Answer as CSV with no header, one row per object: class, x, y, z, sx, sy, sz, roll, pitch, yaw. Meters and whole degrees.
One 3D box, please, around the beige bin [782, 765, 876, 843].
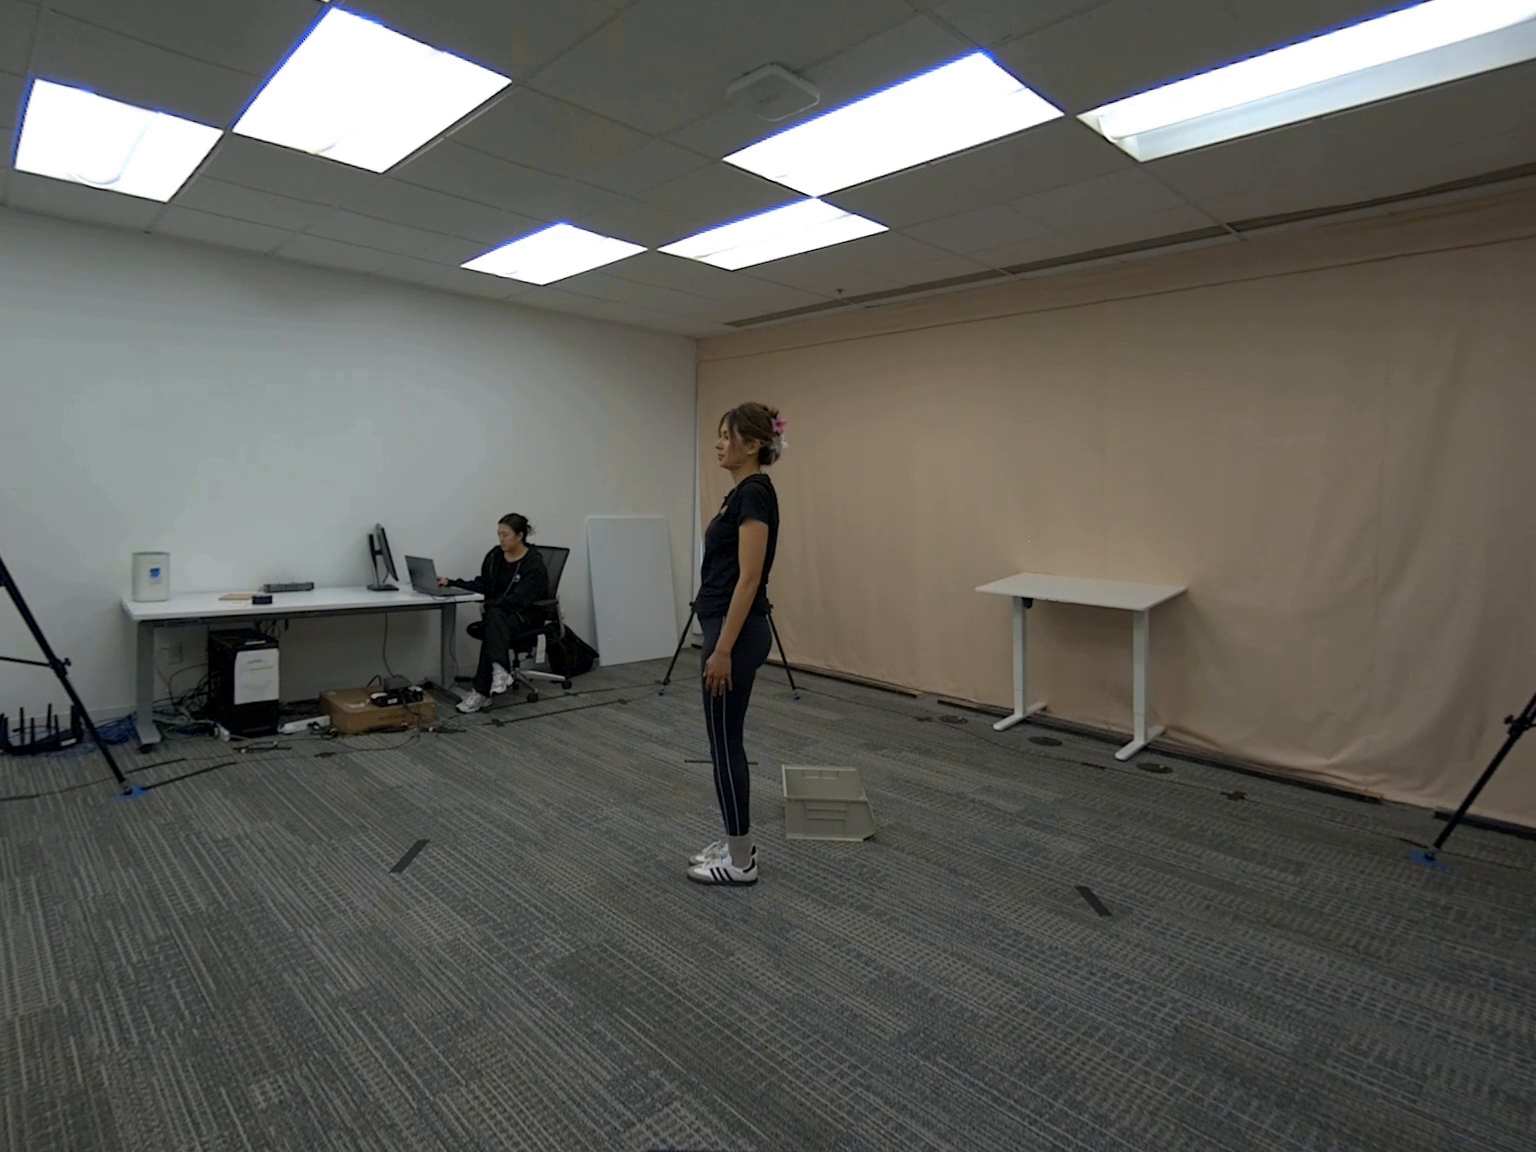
beige bin,0.245,0.976,3.648,0.378,0.188,0.423,0,5,0
